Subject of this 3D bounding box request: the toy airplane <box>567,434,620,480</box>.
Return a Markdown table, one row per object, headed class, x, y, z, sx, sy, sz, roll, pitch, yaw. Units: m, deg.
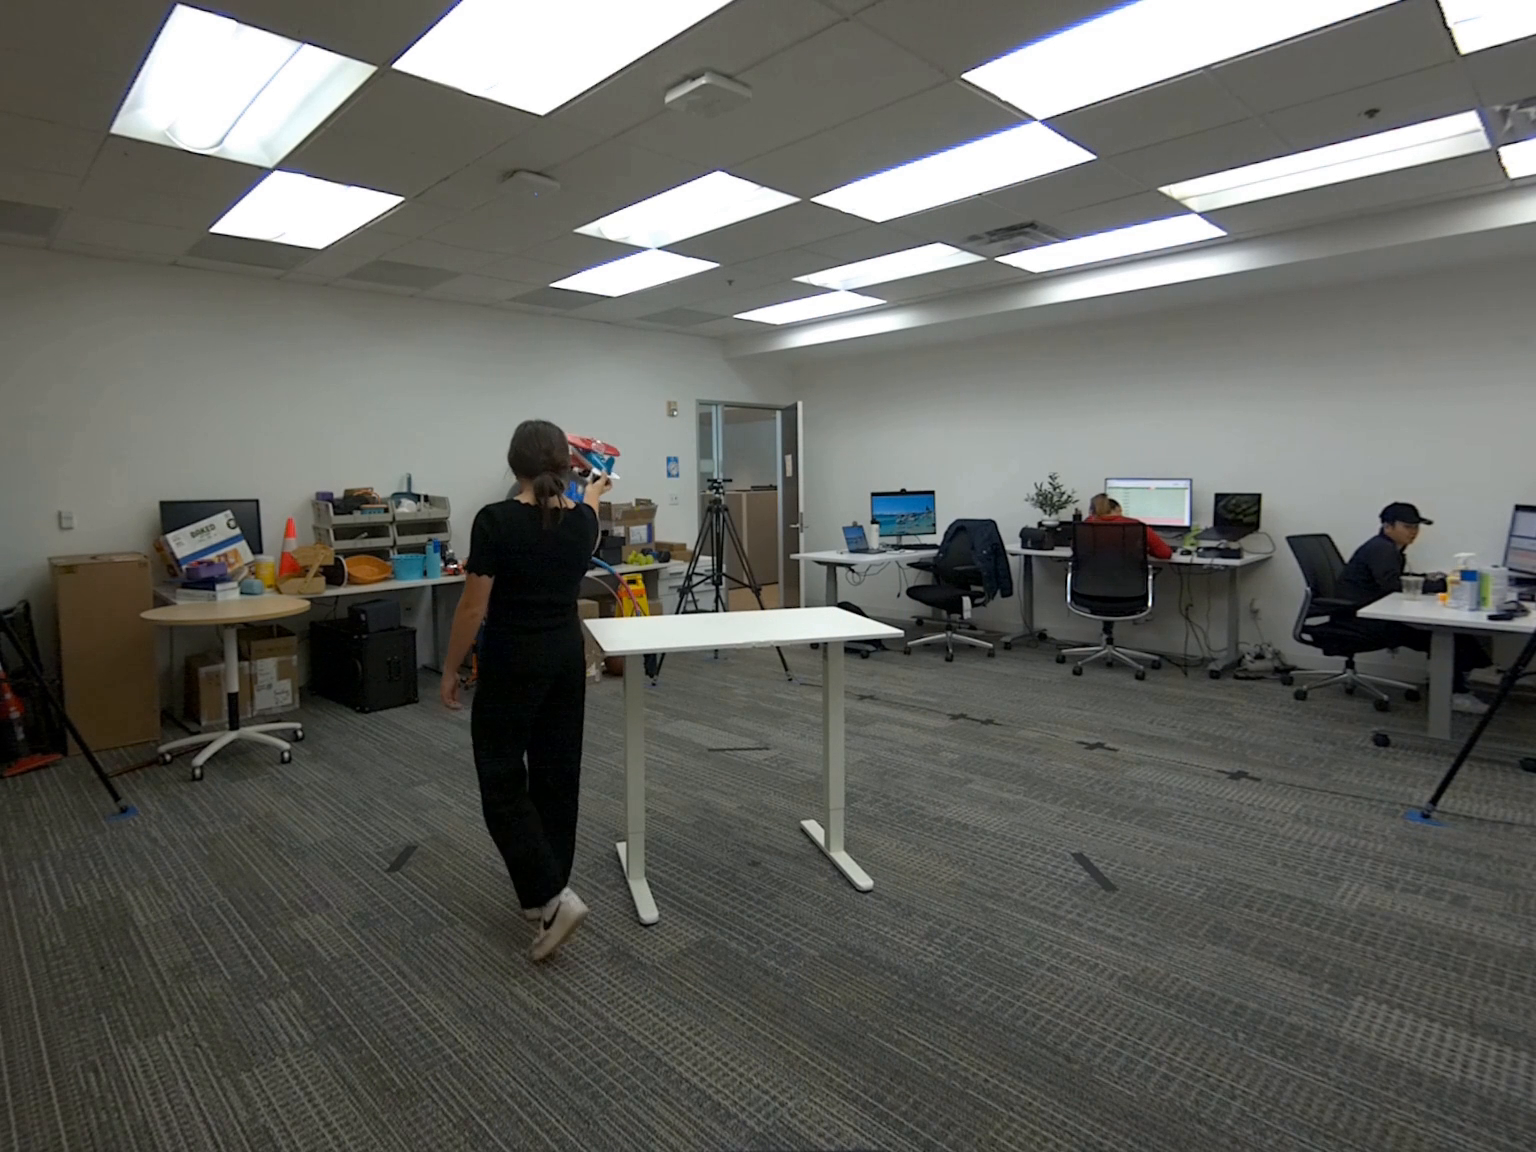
| class | x | y | z | sx | sy | sz | roll | pitch | yaw |
| --- | --- | --- | --- | --- | --- | --- | --- | --- | --- |
| toy airplane | -0.656 | -0.435 | 3.253 | 0.264 | 0.155 | 0.248 | 20 | 10 | 15 |
